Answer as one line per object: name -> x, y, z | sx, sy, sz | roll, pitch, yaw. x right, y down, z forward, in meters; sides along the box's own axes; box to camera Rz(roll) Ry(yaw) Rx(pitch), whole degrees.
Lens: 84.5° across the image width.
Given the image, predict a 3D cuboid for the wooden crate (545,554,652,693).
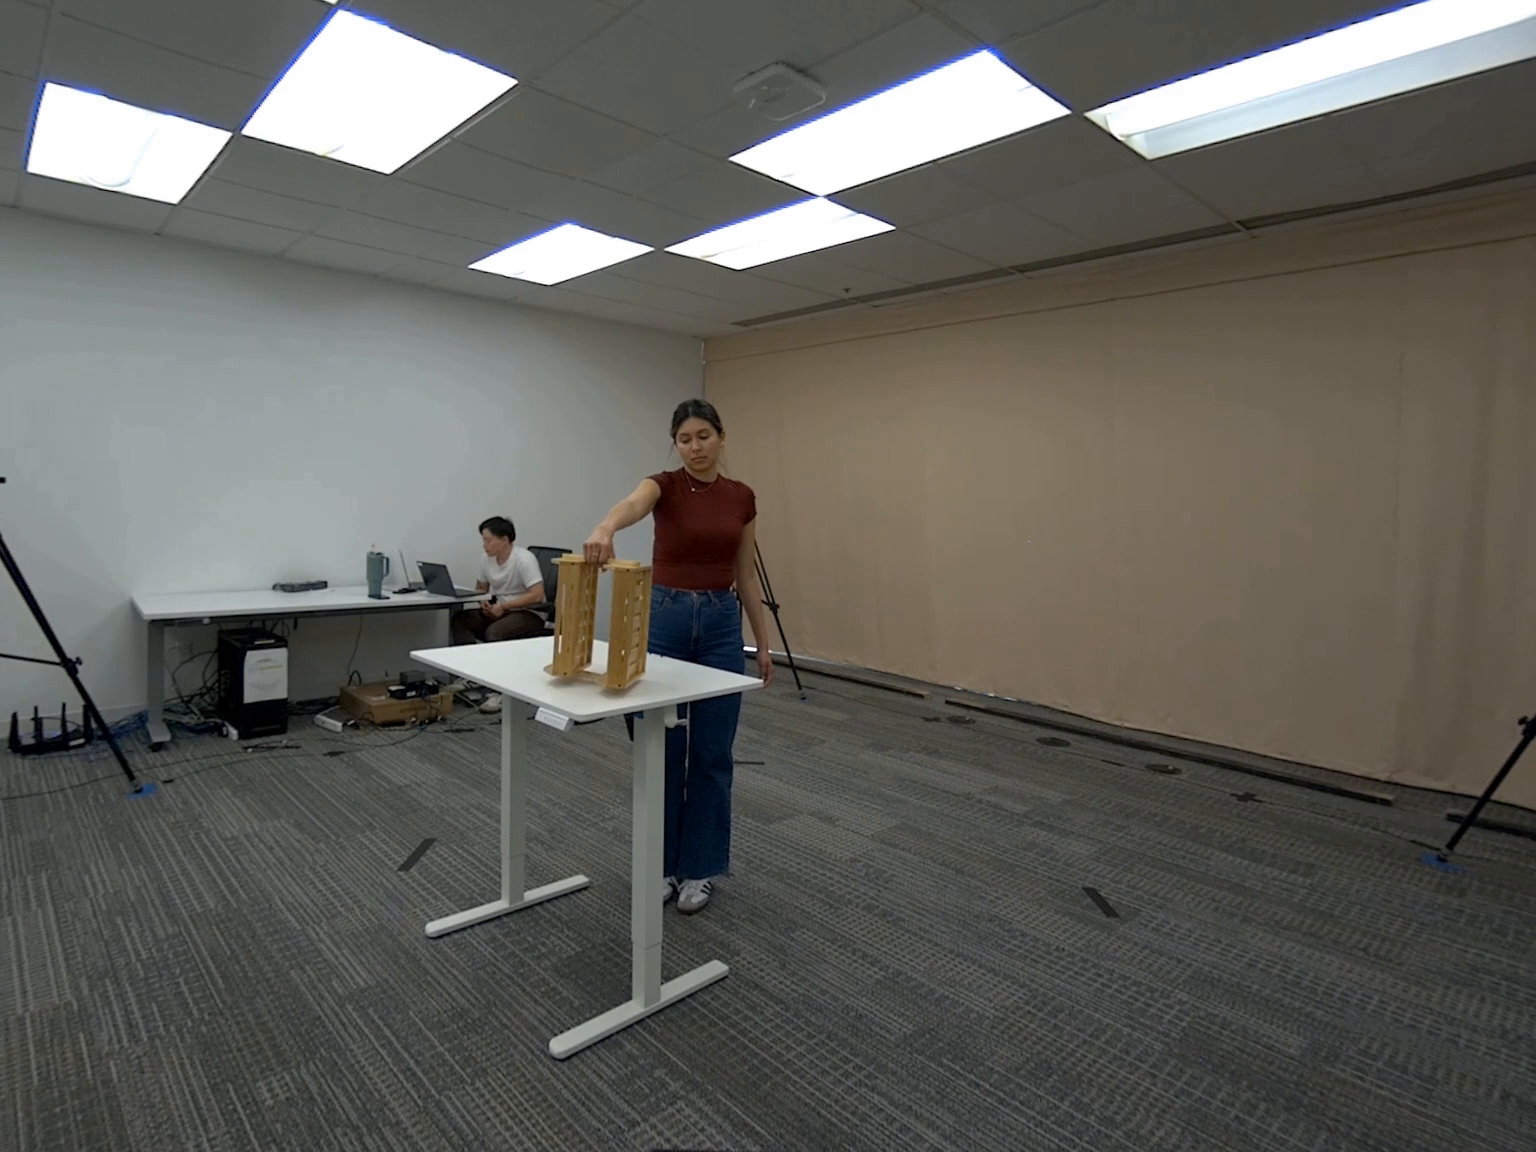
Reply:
wooden crate -> -0.485, 0.117, 2.229 | 0.275, 0.324, 0.300 | 3, 0, 6
